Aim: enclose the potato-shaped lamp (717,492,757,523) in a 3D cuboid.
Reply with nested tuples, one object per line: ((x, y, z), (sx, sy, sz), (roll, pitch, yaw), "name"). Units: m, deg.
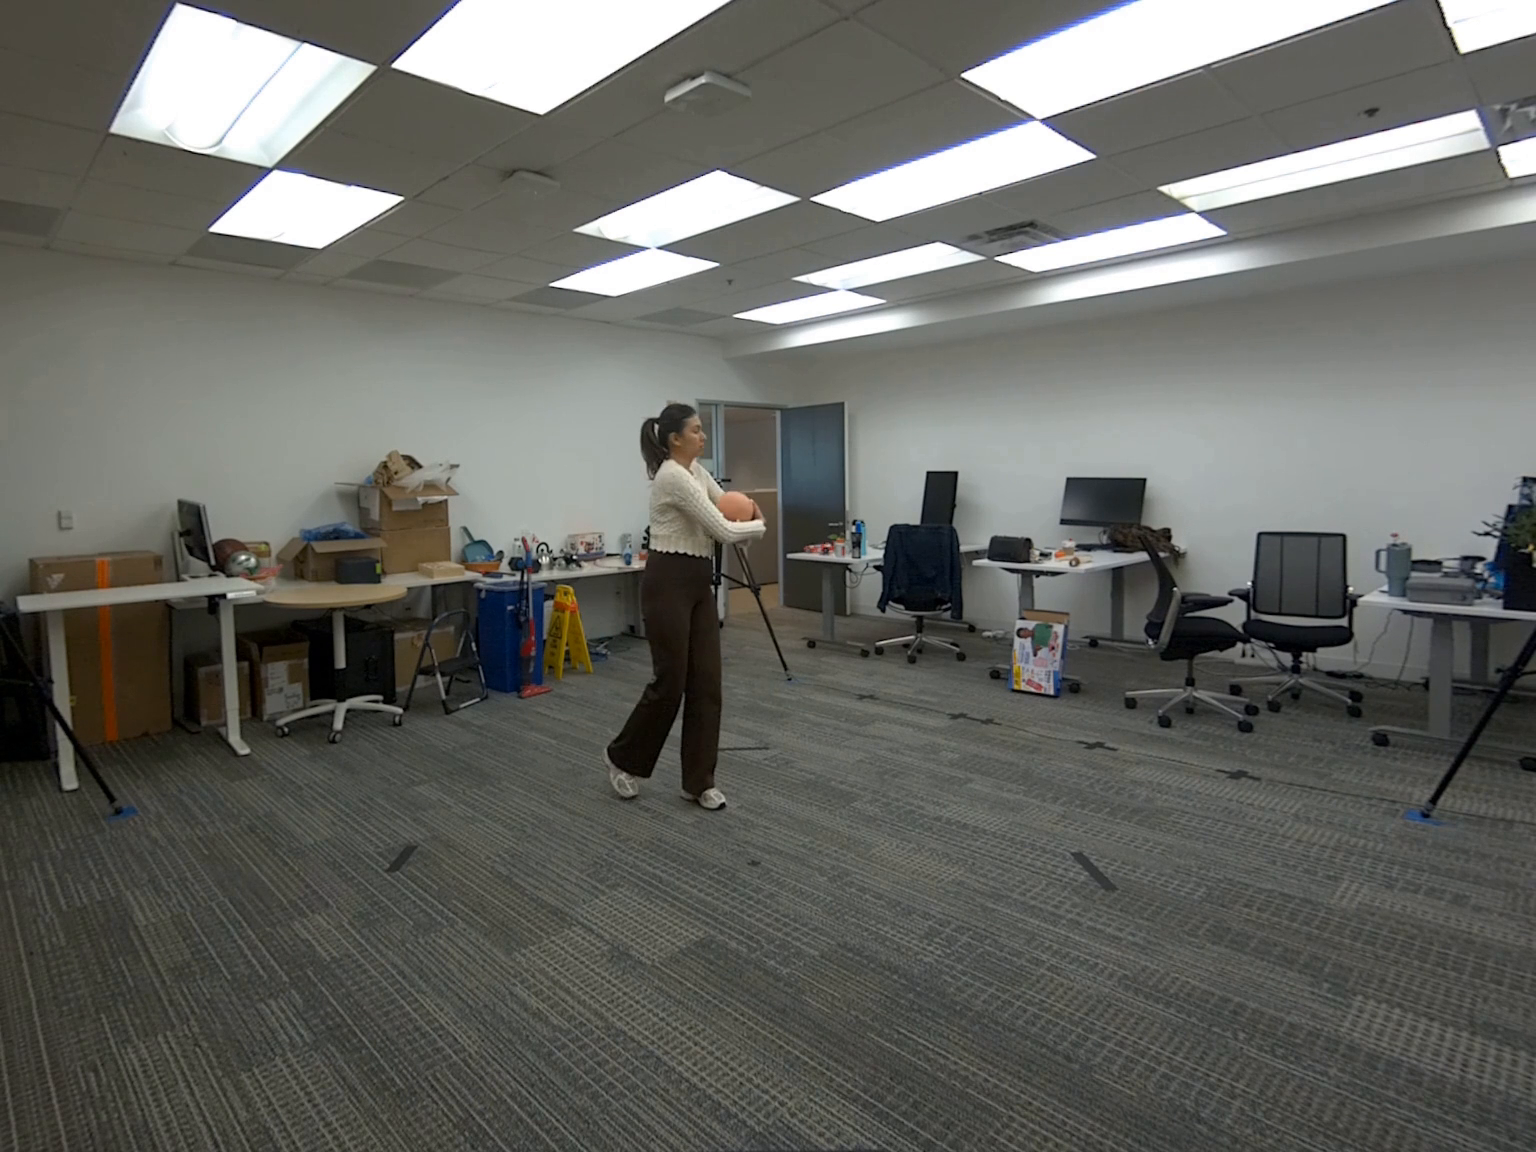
((-0.158, -0.284, 3.722), (0.166, 0.173, 0.195), (16, -12, 7), "potato-shaped lamp")
